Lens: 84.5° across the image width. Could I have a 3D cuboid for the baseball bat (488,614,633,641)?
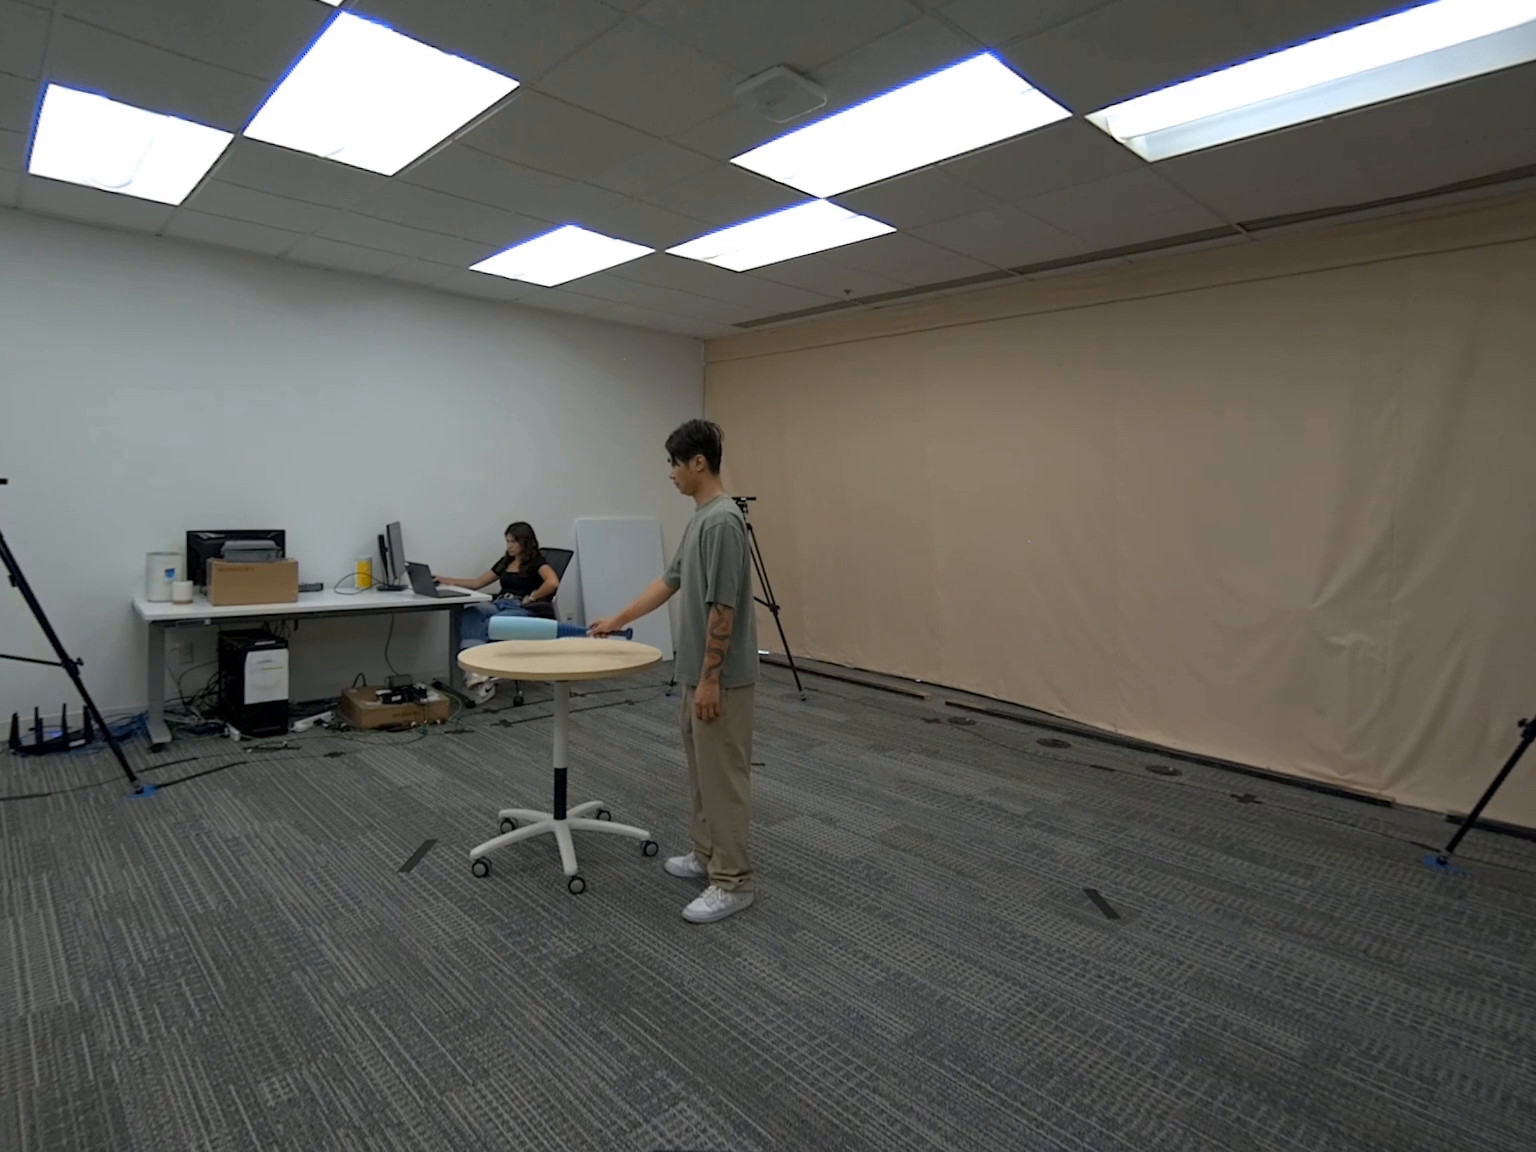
[{"bbox_3d":[-0.794,0.212,3.214,0.537,0.089,0.090,4,3,-13],"label":"baseball bat"}]
